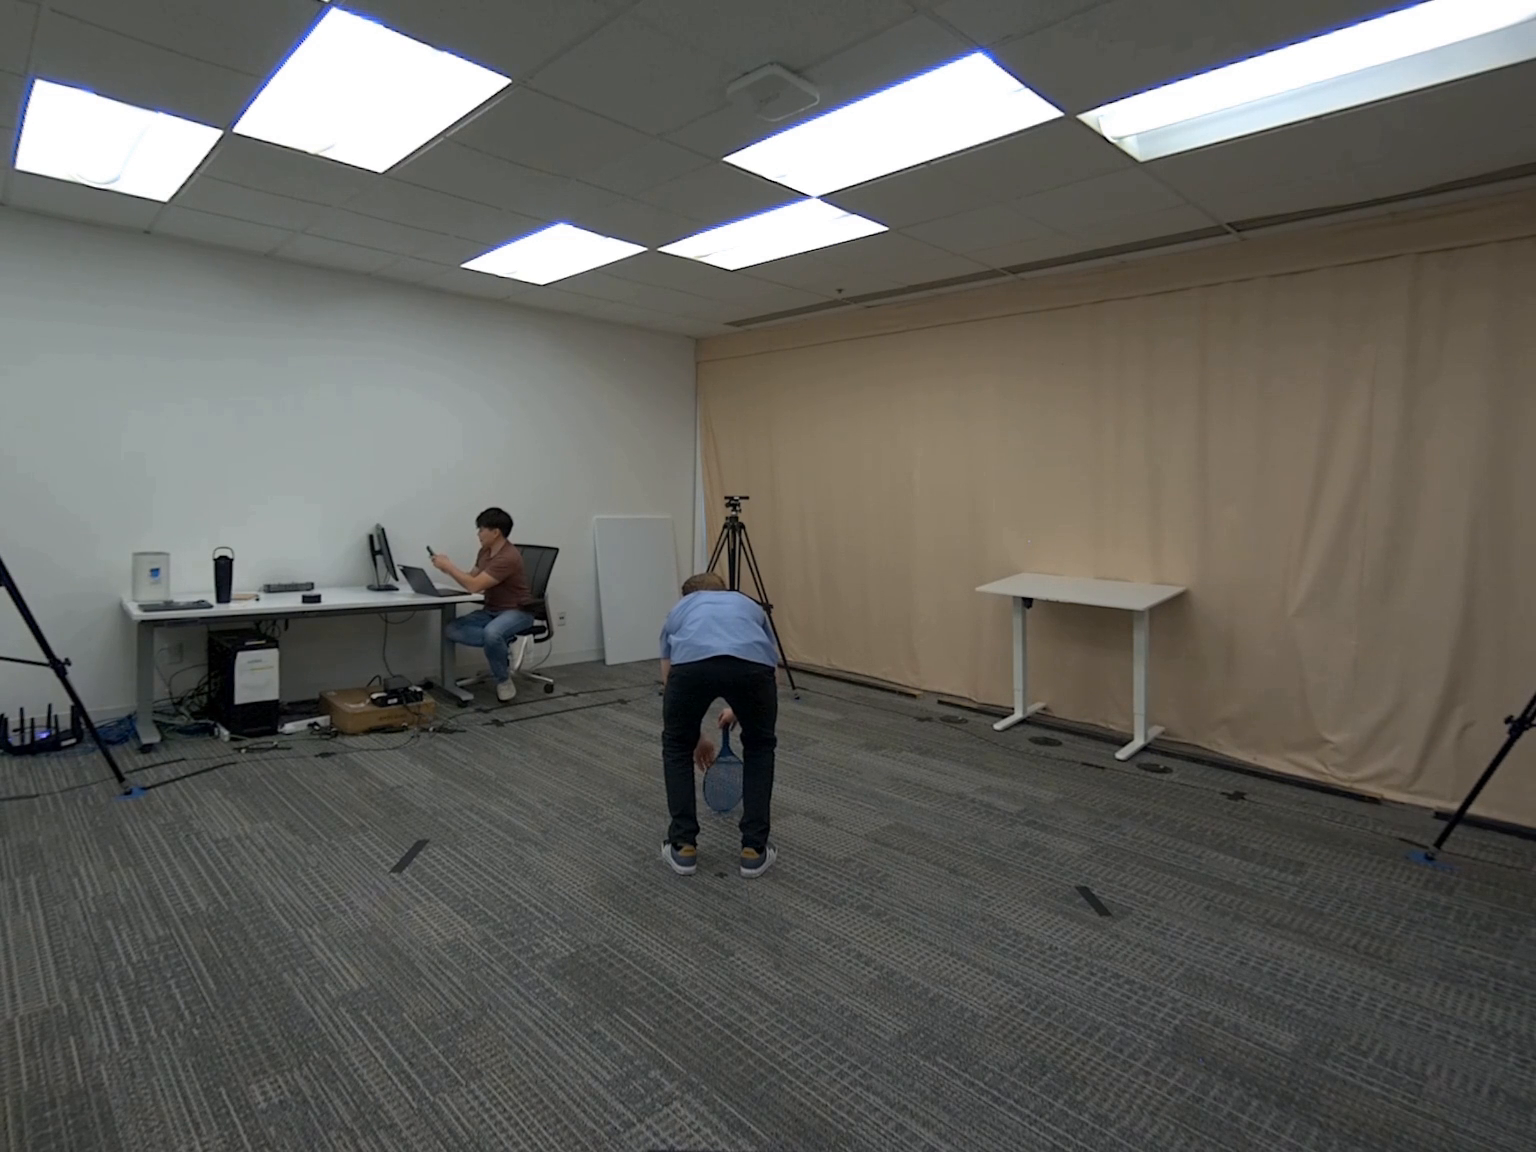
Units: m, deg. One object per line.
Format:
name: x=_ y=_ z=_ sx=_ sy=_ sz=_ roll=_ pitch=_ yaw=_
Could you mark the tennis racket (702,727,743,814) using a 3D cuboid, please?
tennis racket: x=-0.201 y=0.835 z=3.714 sx=0.210 sy=0.430 sz=0.032 roll=-4 pitch=9 yaw=-27
